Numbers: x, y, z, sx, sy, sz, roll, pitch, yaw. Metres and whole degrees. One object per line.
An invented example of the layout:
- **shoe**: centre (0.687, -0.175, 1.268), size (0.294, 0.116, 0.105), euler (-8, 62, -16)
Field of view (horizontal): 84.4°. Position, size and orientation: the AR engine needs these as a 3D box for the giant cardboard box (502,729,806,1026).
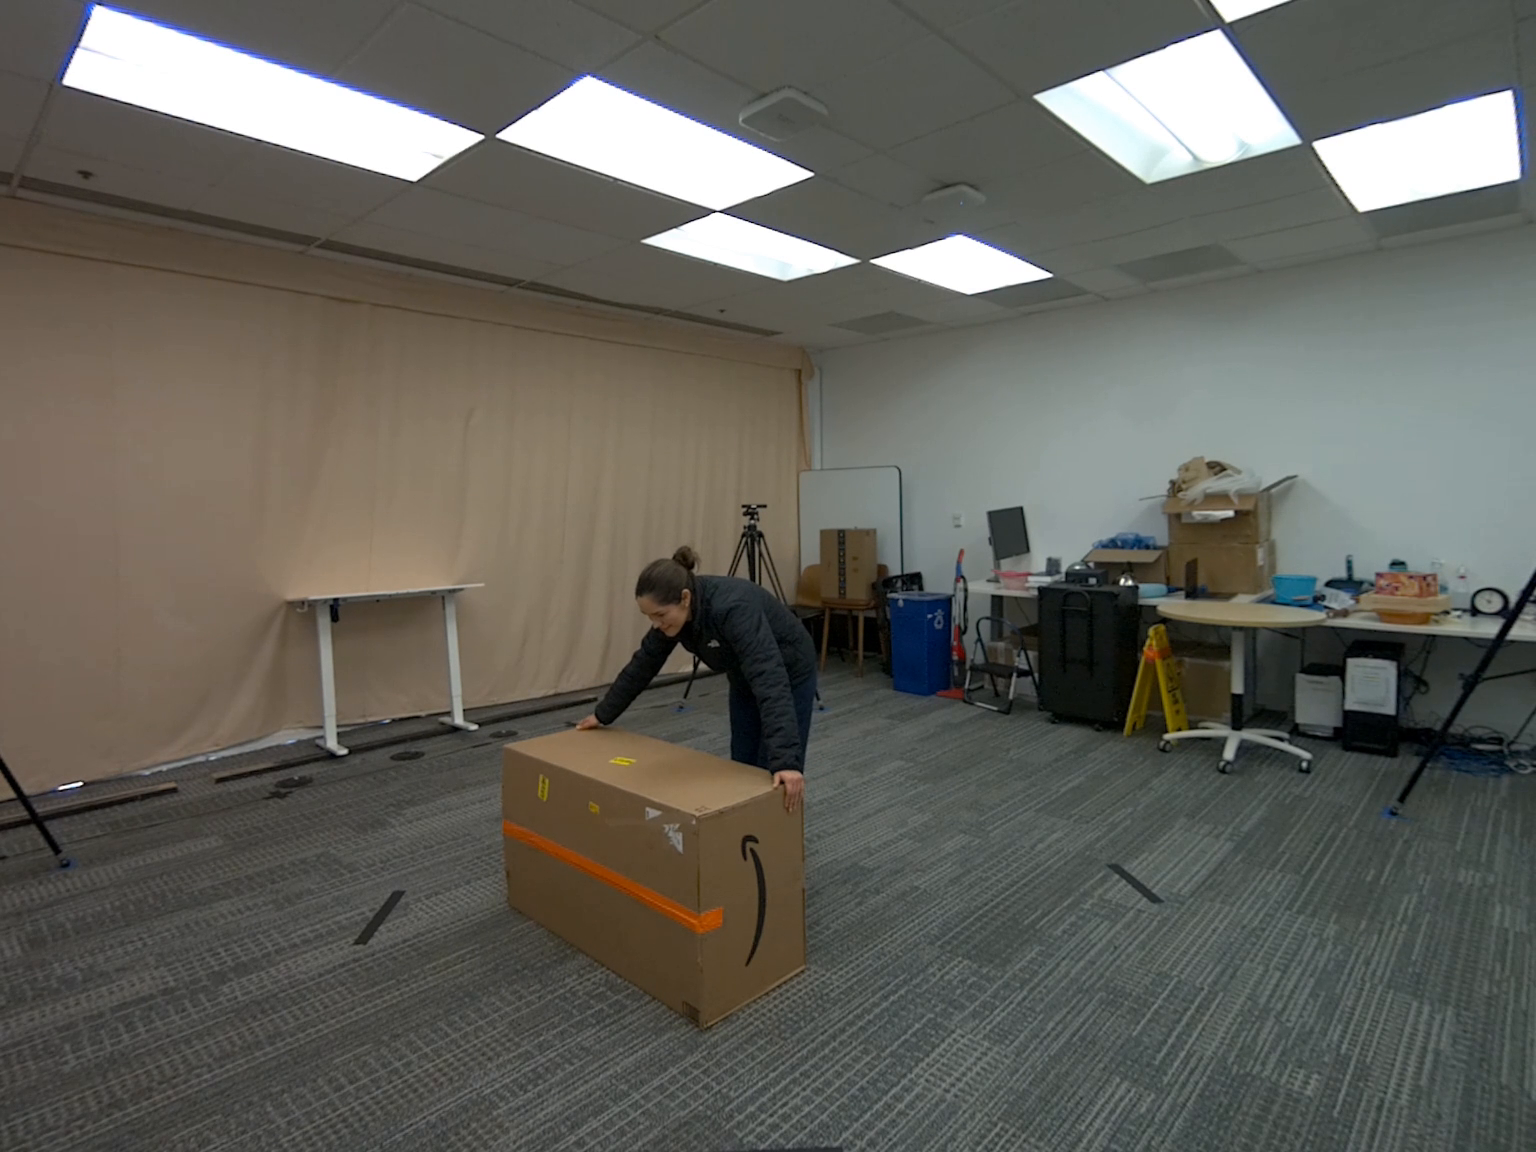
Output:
- **giant cardboard box**: centre (-0.399, 0.886, 2.730), size (1.061, 0.582, 0.433), euler (2, 5, 44)
